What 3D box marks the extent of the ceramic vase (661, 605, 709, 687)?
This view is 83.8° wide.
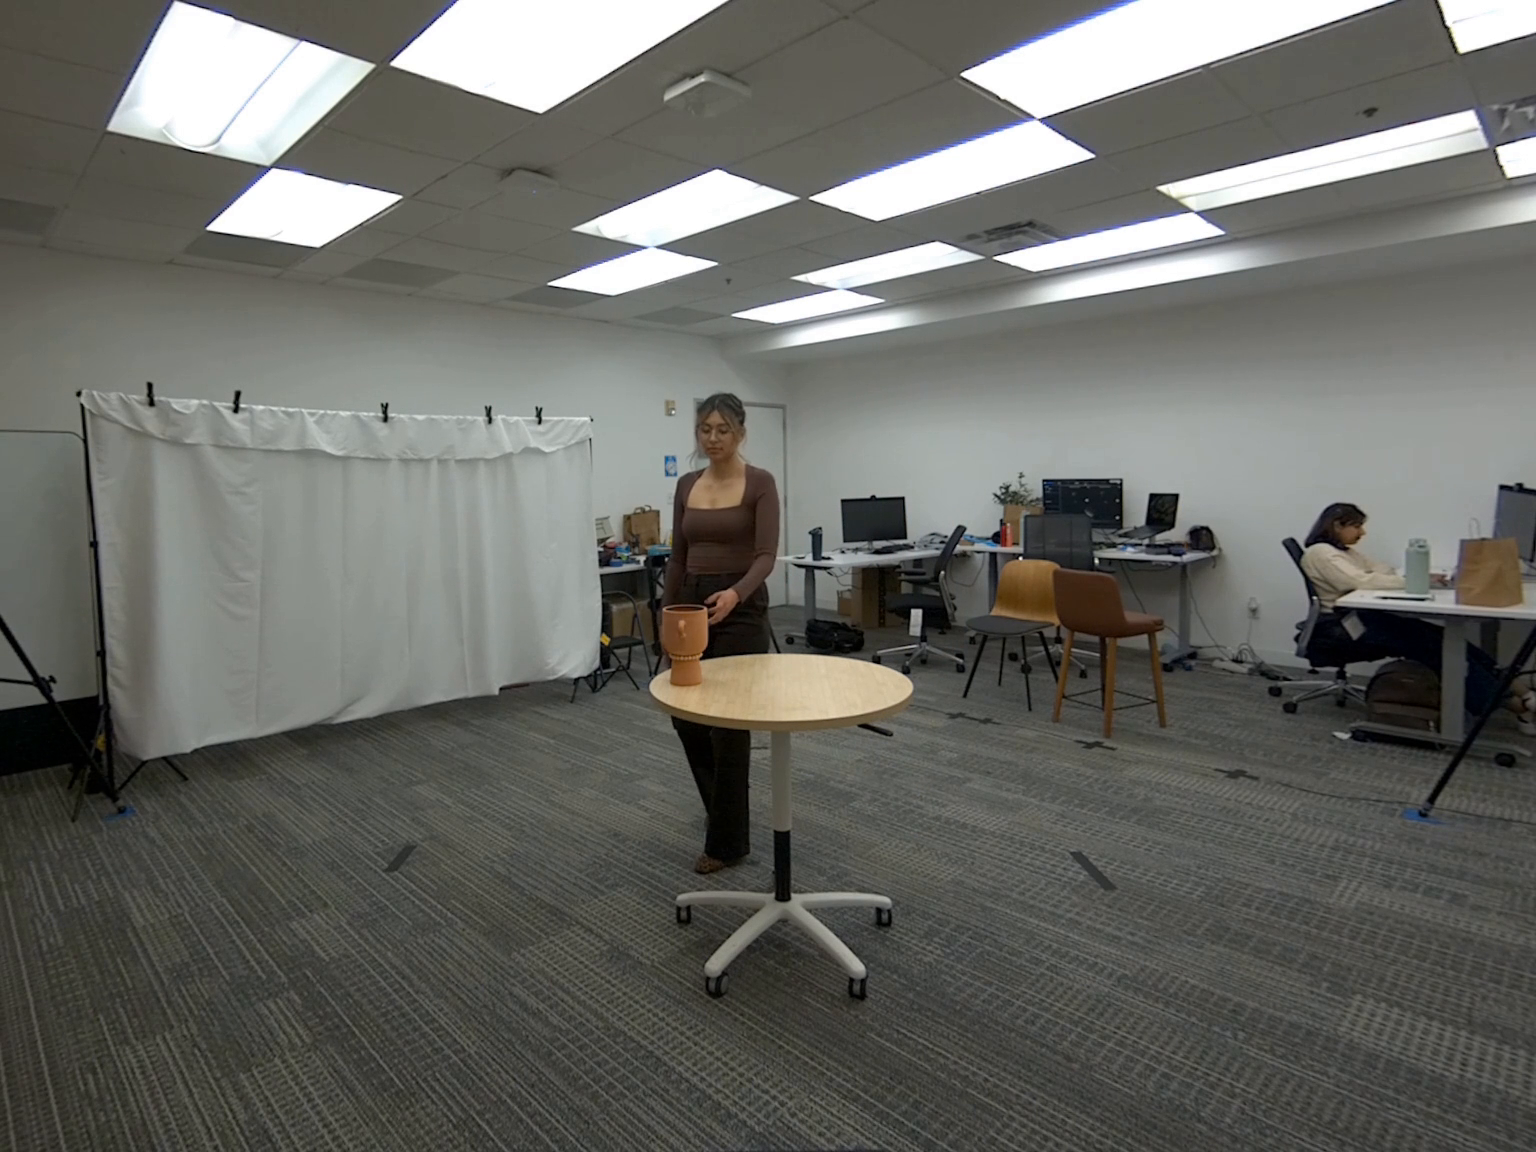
[{"bbox_3d":[-0.243,0.207,2.521,0.139,0.219,0.155,3,6,43],"label":"ceramic vase"}]
